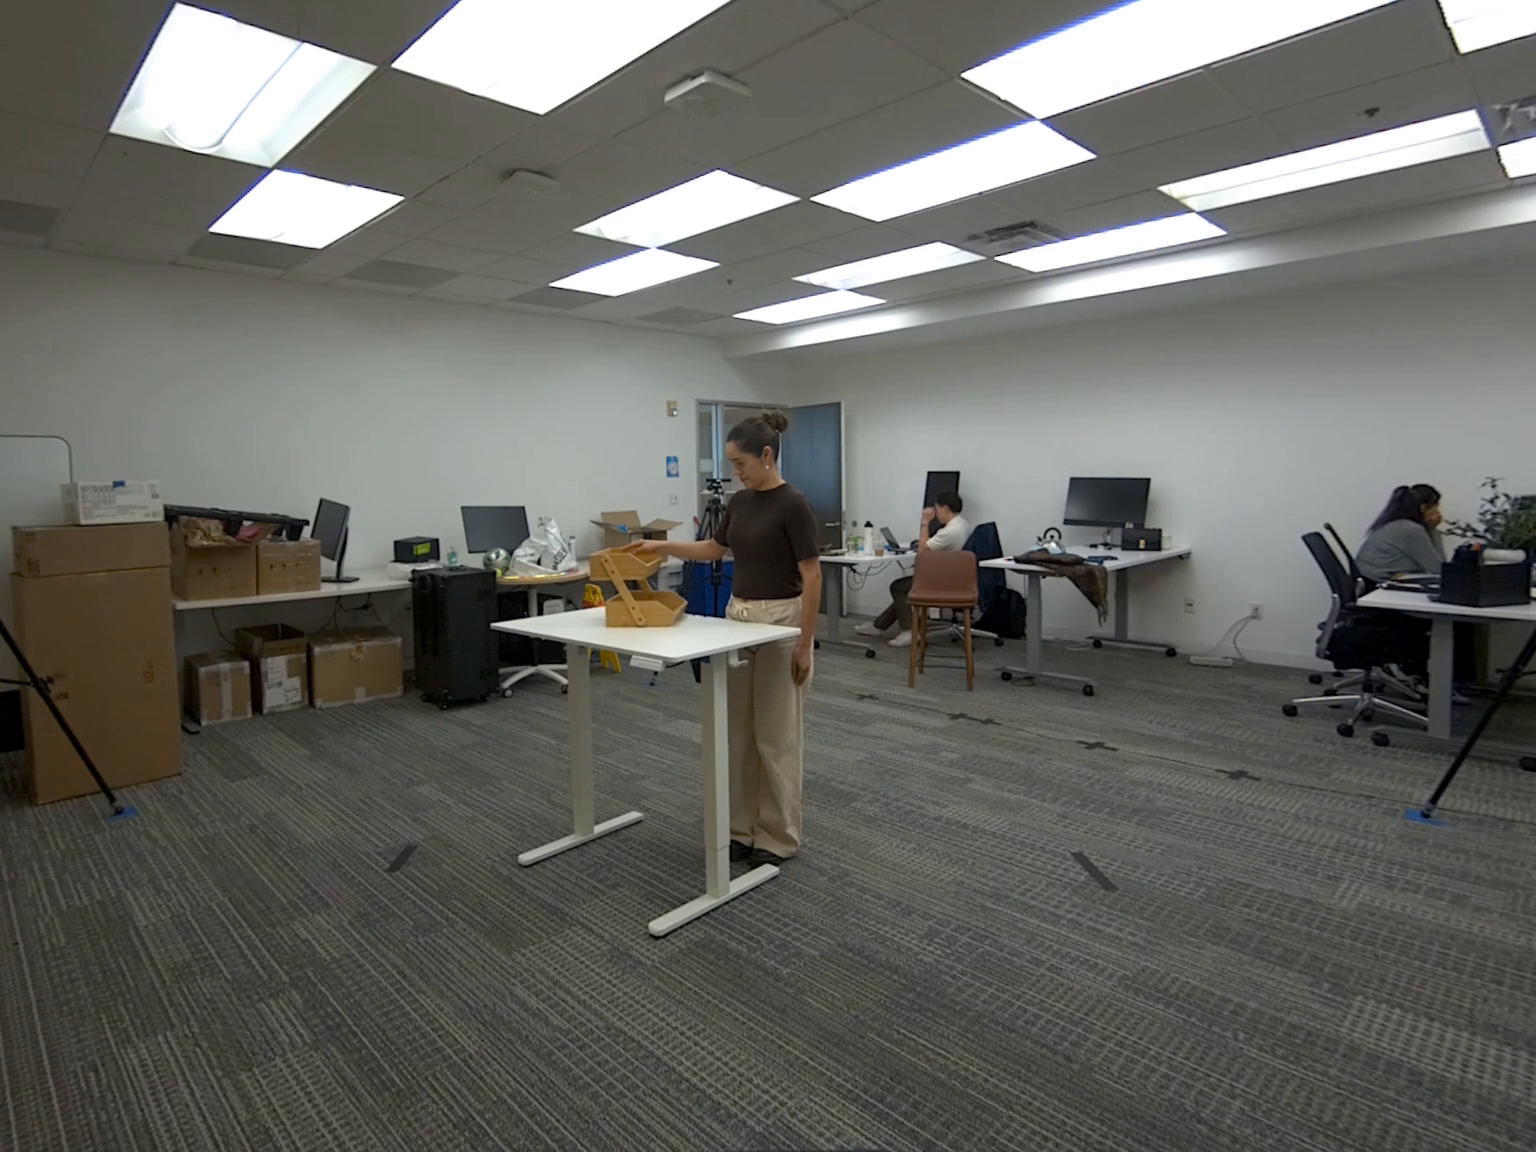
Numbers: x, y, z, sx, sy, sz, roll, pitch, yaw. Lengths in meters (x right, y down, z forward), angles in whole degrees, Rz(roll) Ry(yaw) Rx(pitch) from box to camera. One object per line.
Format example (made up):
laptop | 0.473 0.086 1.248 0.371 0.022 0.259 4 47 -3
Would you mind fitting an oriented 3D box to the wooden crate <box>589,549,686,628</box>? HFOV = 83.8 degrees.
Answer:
wooden crate | -0.467 0.036 3.156 0.303 0.272 0.324 -1 4 4
